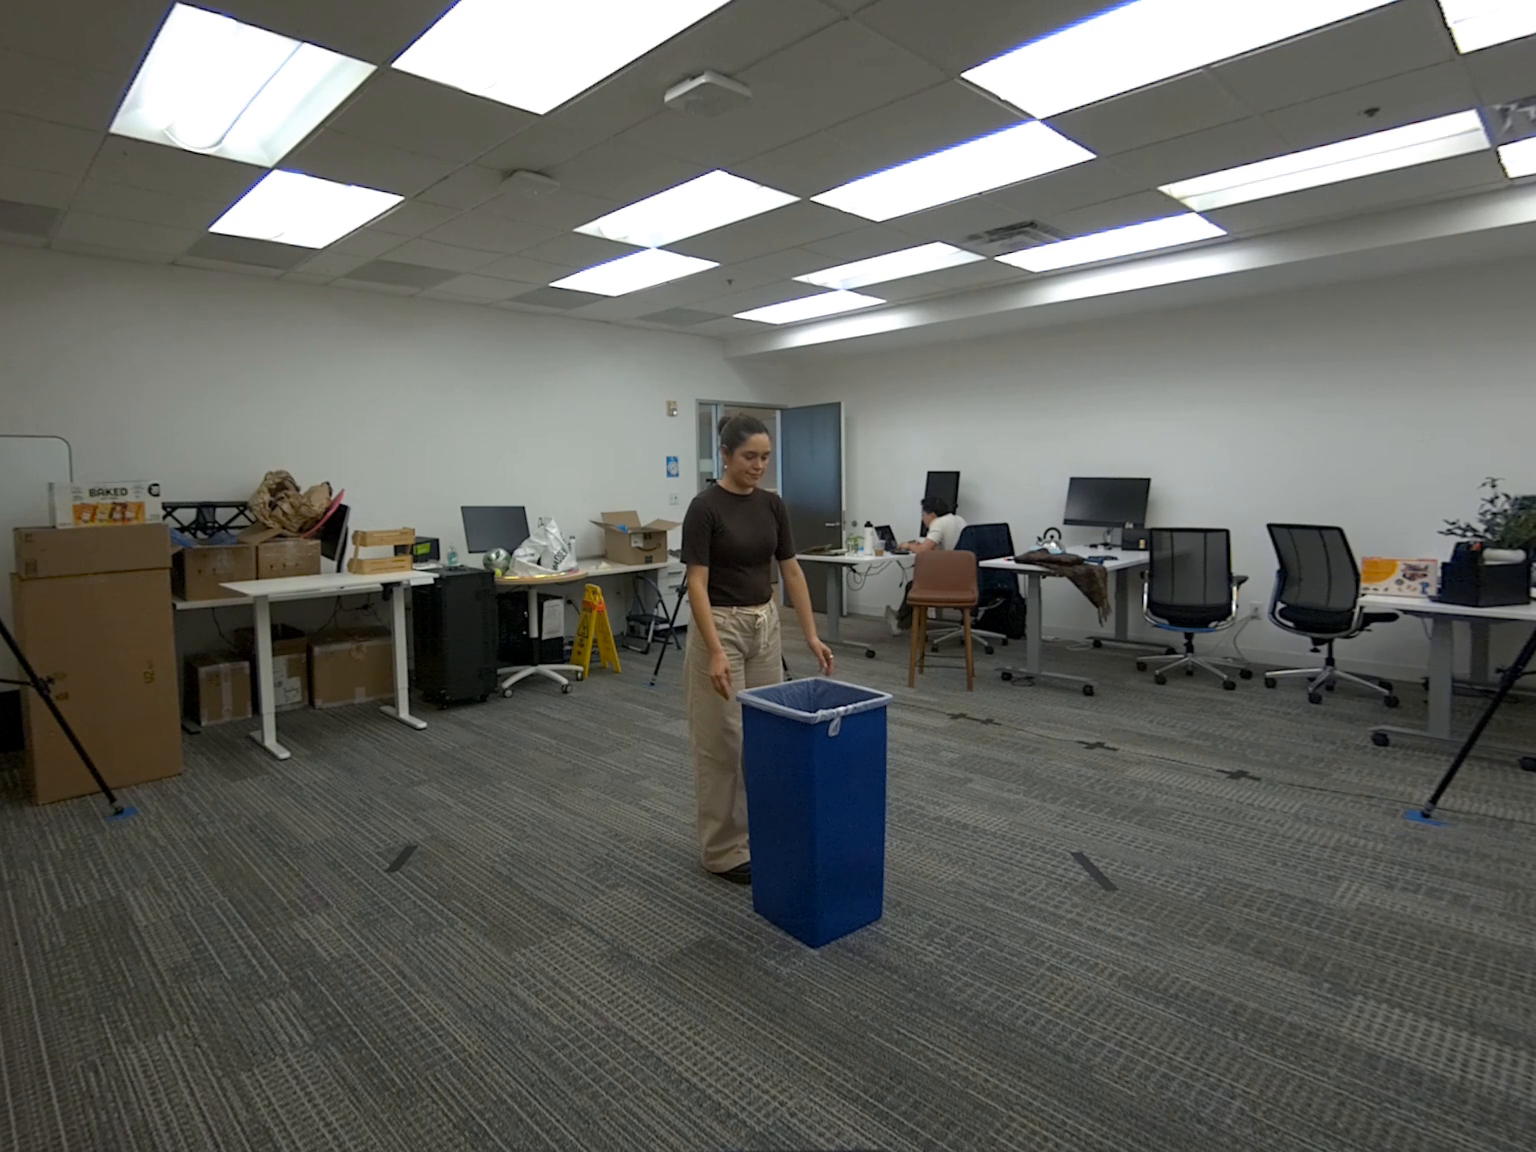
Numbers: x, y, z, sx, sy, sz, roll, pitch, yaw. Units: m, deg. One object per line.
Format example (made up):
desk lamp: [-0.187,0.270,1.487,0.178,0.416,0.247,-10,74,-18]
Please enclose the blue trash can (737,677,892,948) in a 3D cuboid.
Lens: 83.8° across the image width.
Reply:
blue trash can: [0.151,0.728,2.714,0.368,0.711,0.385,-4,5,-39]
